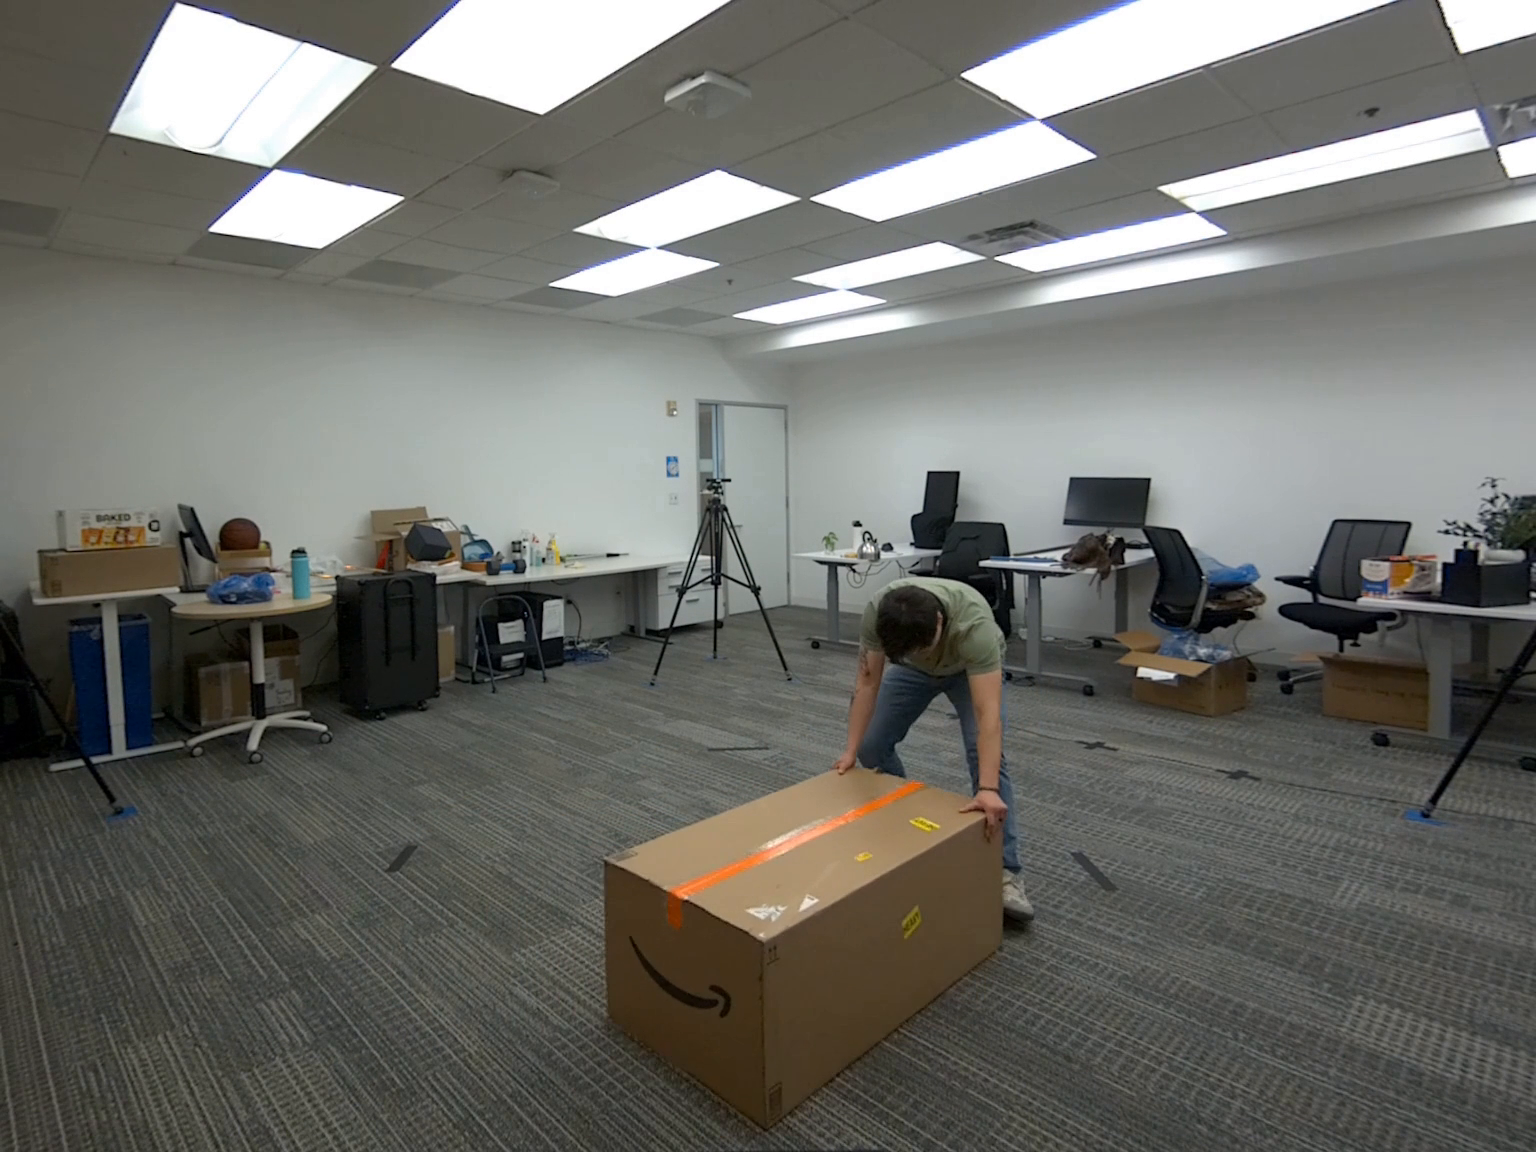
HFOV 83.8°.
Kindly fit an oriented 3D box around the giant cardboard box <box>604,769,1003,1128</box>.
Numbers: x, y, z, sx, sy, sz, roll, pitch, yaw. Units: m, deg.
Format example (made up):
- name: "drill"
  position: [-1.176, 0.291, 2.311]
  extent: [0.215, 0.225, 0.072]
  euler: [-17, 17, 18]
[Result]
- name: "giant cardboard box"
  position: [0.131, 0.913, 2.372]
  extent: [0.595, 0.424, 0.999]
  euler: [5, 8, 45]
